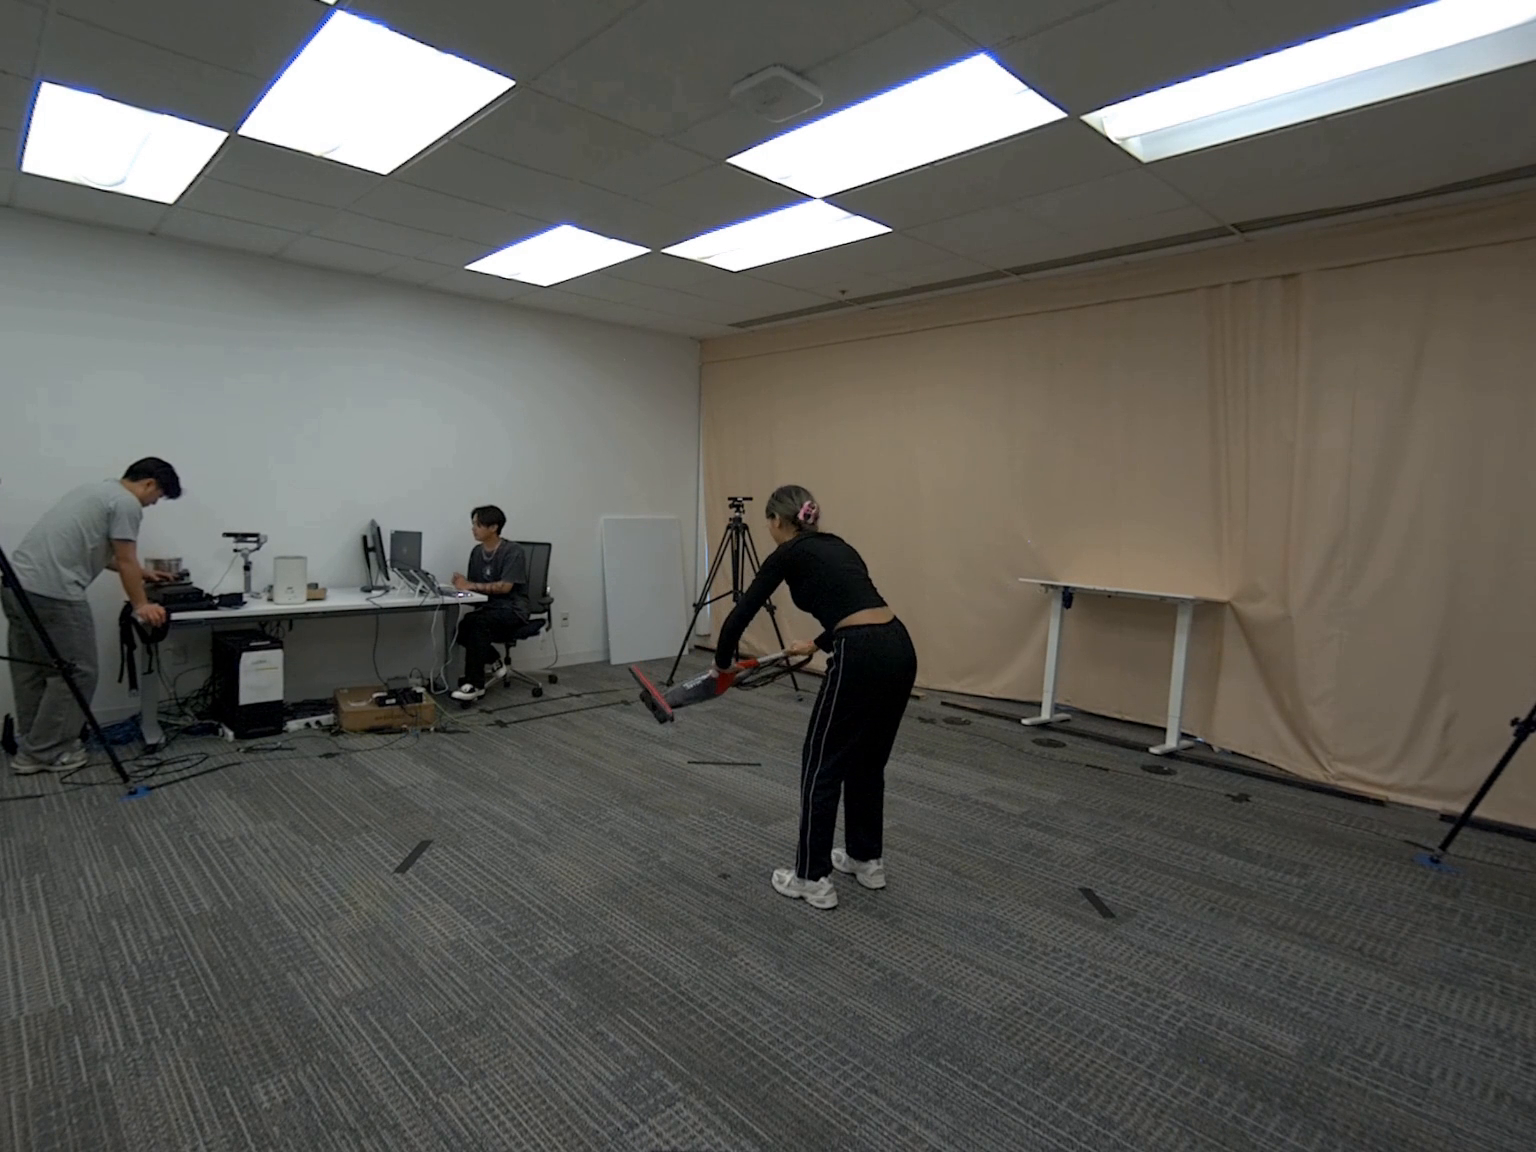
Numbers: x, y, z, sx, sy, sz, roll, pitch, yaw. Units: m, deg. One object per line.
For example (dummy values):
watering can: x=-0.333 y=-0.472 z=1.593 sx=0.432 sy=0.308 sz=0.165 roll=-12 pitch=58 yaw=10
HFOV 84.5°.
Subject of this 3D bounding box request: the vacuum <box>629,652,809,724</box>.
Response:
vacuum: x=-0.055 y=0.374 z=3.292 sx=1.028 sy=0.142 sz=0.260 roll=-10 pitch=40 yaw=-44
